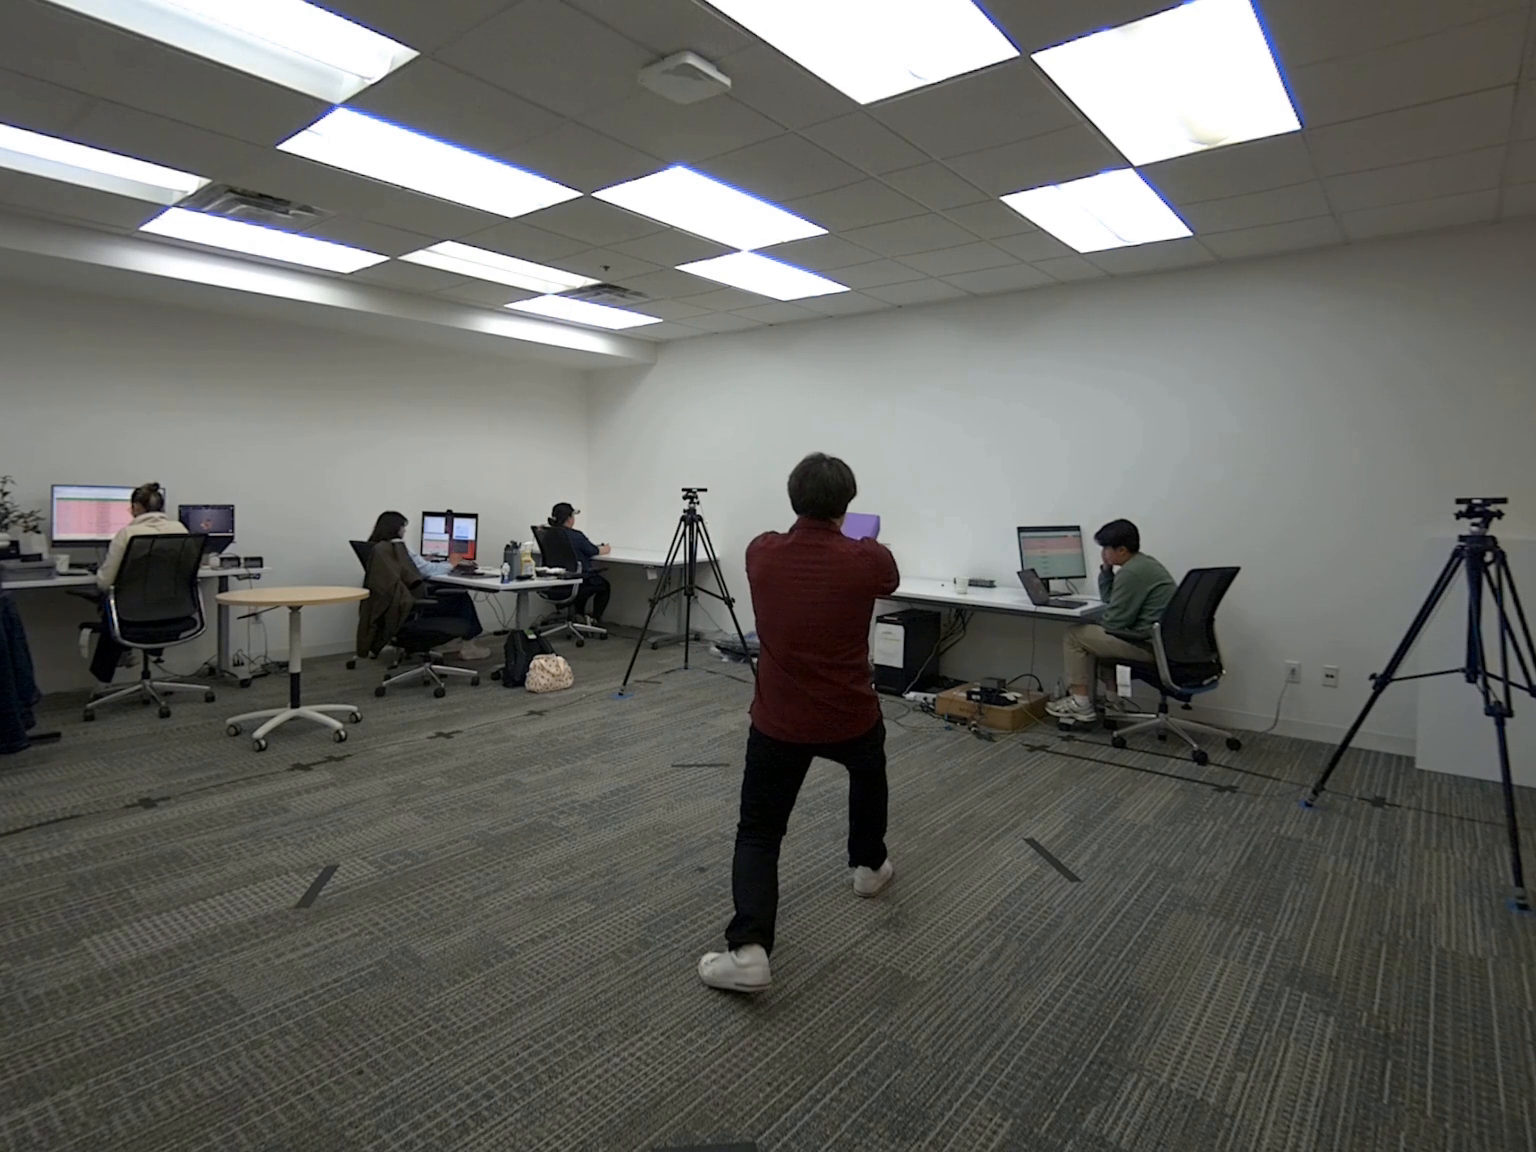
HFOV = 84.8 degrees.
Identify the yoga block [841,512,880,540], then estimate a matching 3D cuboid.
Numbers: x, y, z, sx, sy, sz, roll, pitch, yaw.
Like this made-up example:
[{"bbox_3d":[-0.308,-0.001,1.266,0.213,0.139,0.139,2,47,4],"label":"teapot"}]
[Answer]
[{"bbox_3d":[0.328,-0.148,3.232,0.152,0.074,0.231,6,34,16],"label":"yoga block"}]
